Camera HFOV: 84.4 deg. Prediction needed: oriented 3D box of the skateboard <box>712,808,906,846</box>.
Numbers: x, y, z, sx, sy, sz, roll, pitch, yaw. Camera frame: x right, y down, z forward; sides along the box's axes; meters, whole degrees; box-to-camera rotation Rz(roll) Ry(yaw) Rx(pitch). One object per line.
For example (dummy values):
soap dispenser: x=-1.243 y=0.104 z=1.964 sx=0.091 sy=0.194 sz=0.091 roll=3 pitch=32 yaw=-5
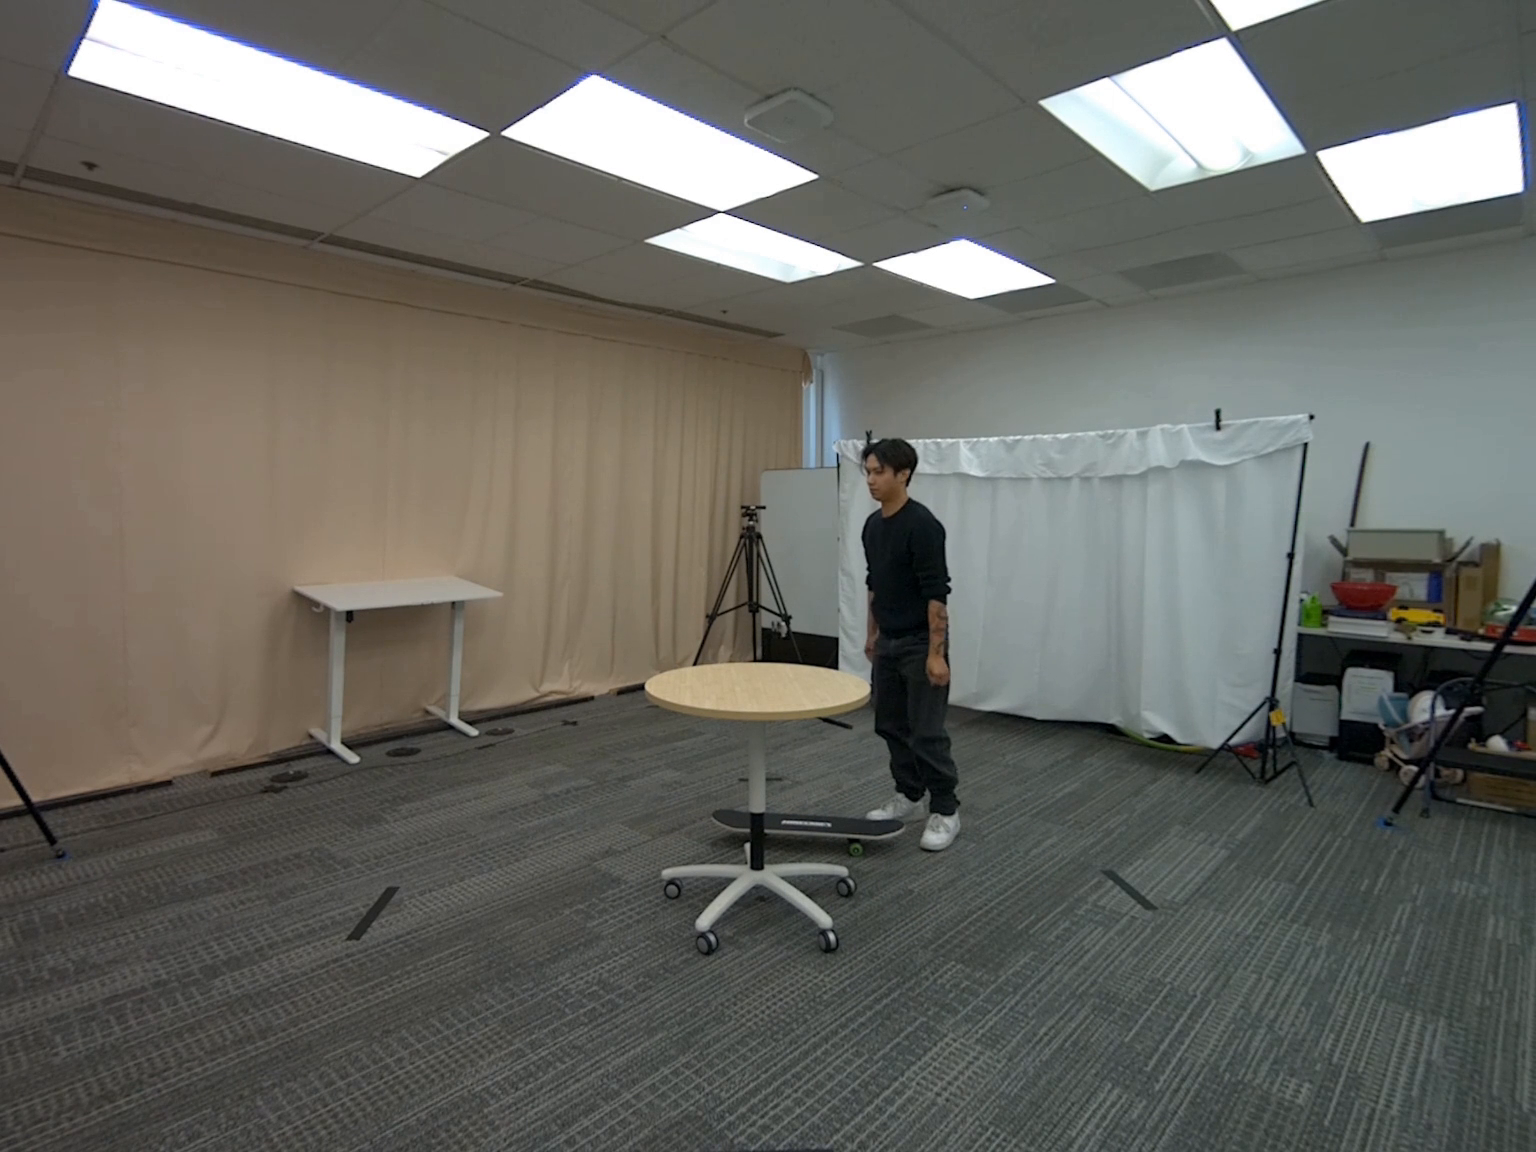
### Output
skateboard: x=0.159 y=1.045 z=3.452 sx=0.794 sy=0.110 sz=0.192 roll=1 pitch=4 yaw=9
